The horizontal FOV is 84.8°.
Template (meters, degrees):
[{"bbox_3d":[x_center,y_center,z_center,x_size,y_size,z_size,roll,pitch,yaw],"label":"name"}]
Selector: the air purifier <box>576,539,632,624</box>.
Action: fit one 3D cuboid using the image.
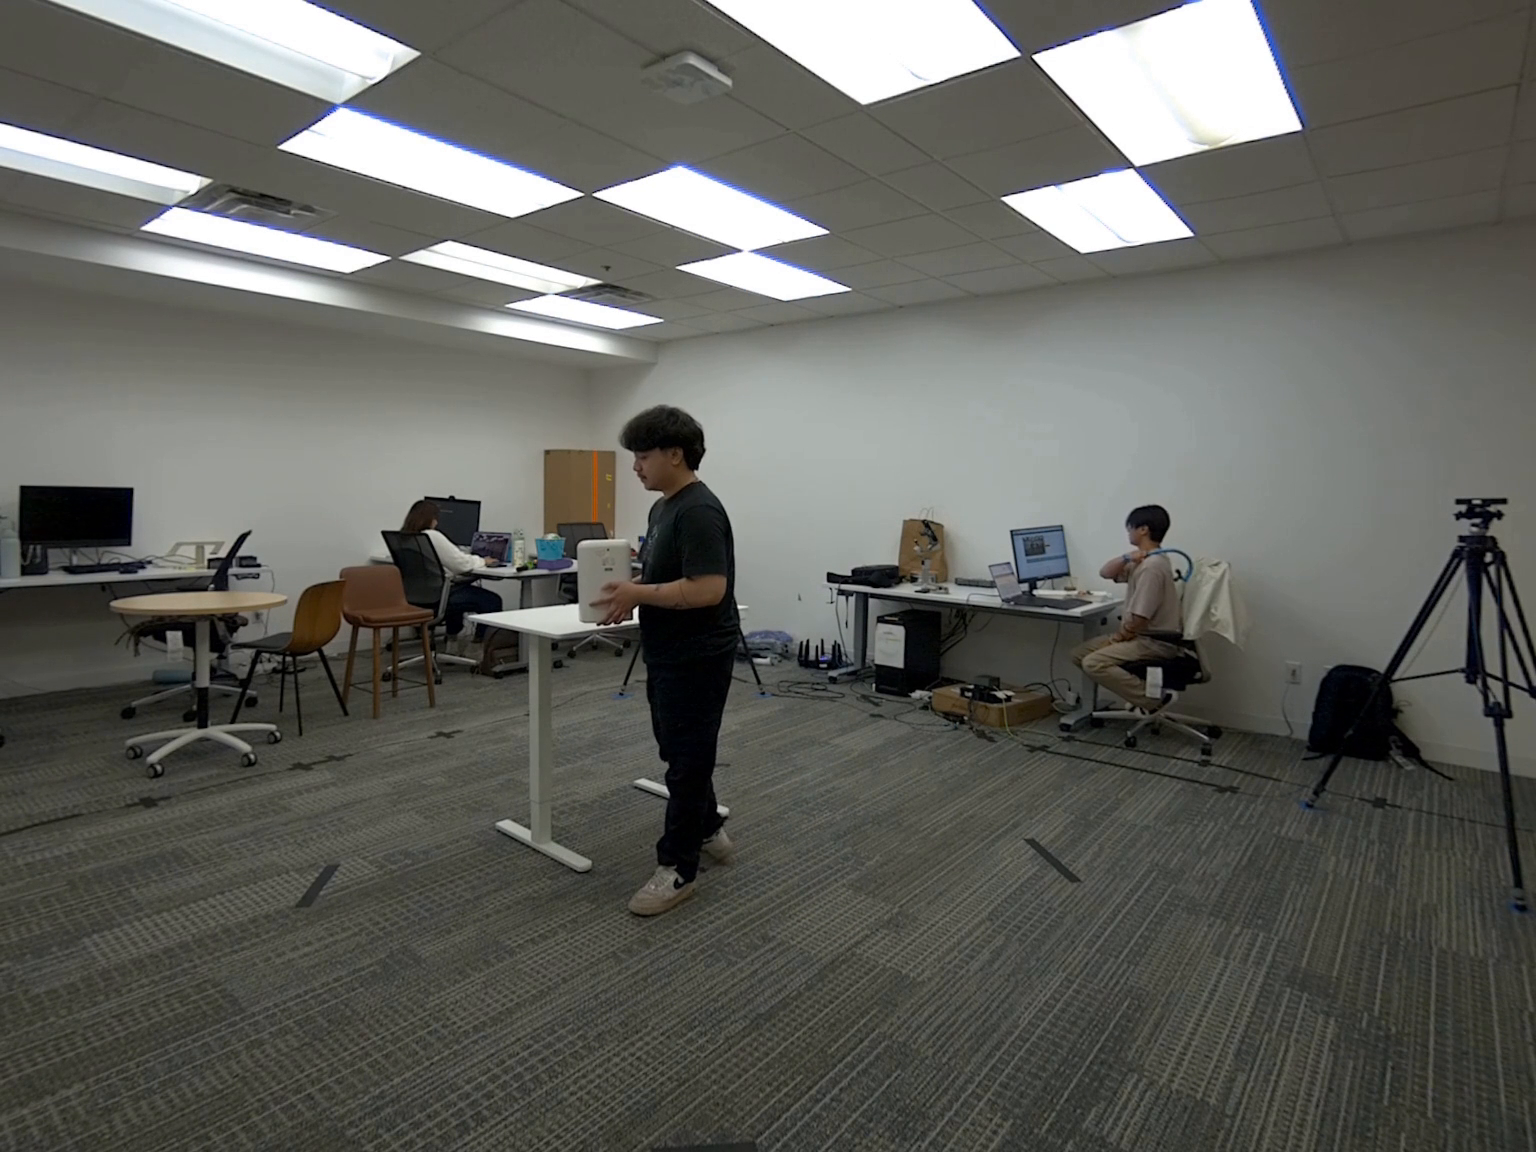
[{"bbox_3d":[-0.547,0.009,2.806,0.168,0.265,0.175,-2,1,-18],"label":"air purifier"}]
